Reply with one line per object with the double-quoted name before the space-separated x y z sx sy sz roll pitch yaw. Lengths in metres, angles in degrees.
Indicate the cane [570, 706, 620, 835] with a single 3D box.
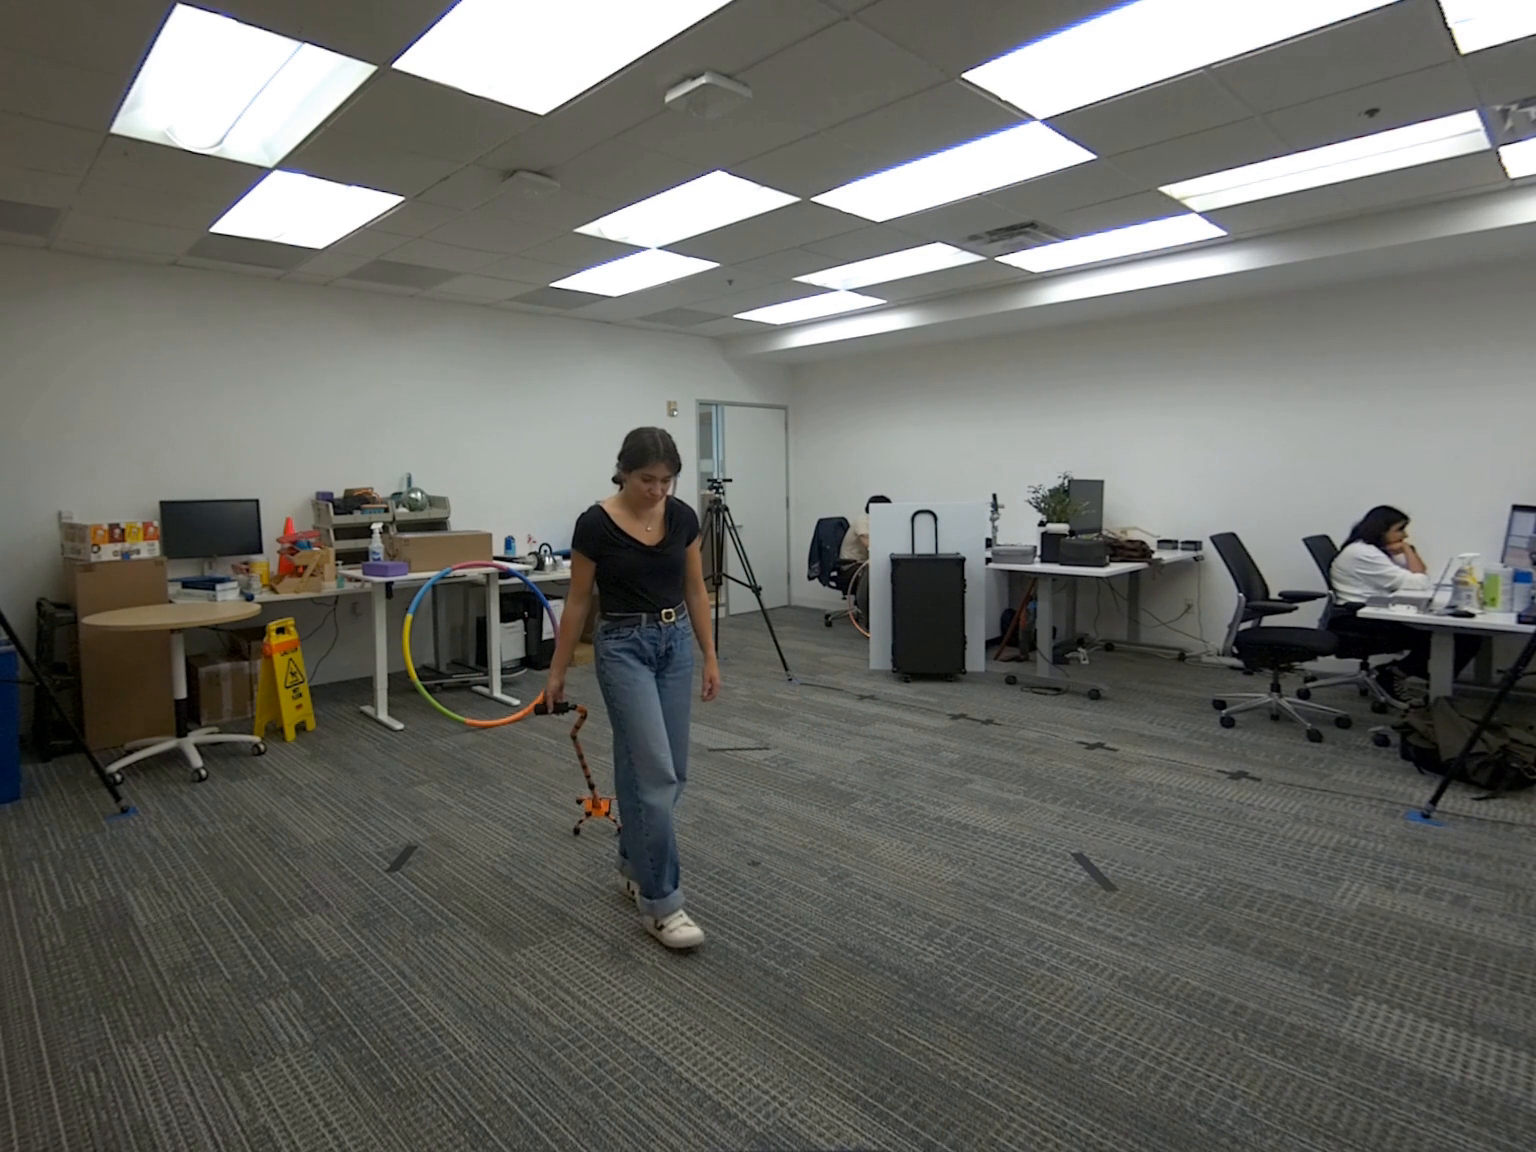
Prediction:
"cane" -0.668 0.699 3.097 0.206 0.156 0.883 -1 -38 -1
